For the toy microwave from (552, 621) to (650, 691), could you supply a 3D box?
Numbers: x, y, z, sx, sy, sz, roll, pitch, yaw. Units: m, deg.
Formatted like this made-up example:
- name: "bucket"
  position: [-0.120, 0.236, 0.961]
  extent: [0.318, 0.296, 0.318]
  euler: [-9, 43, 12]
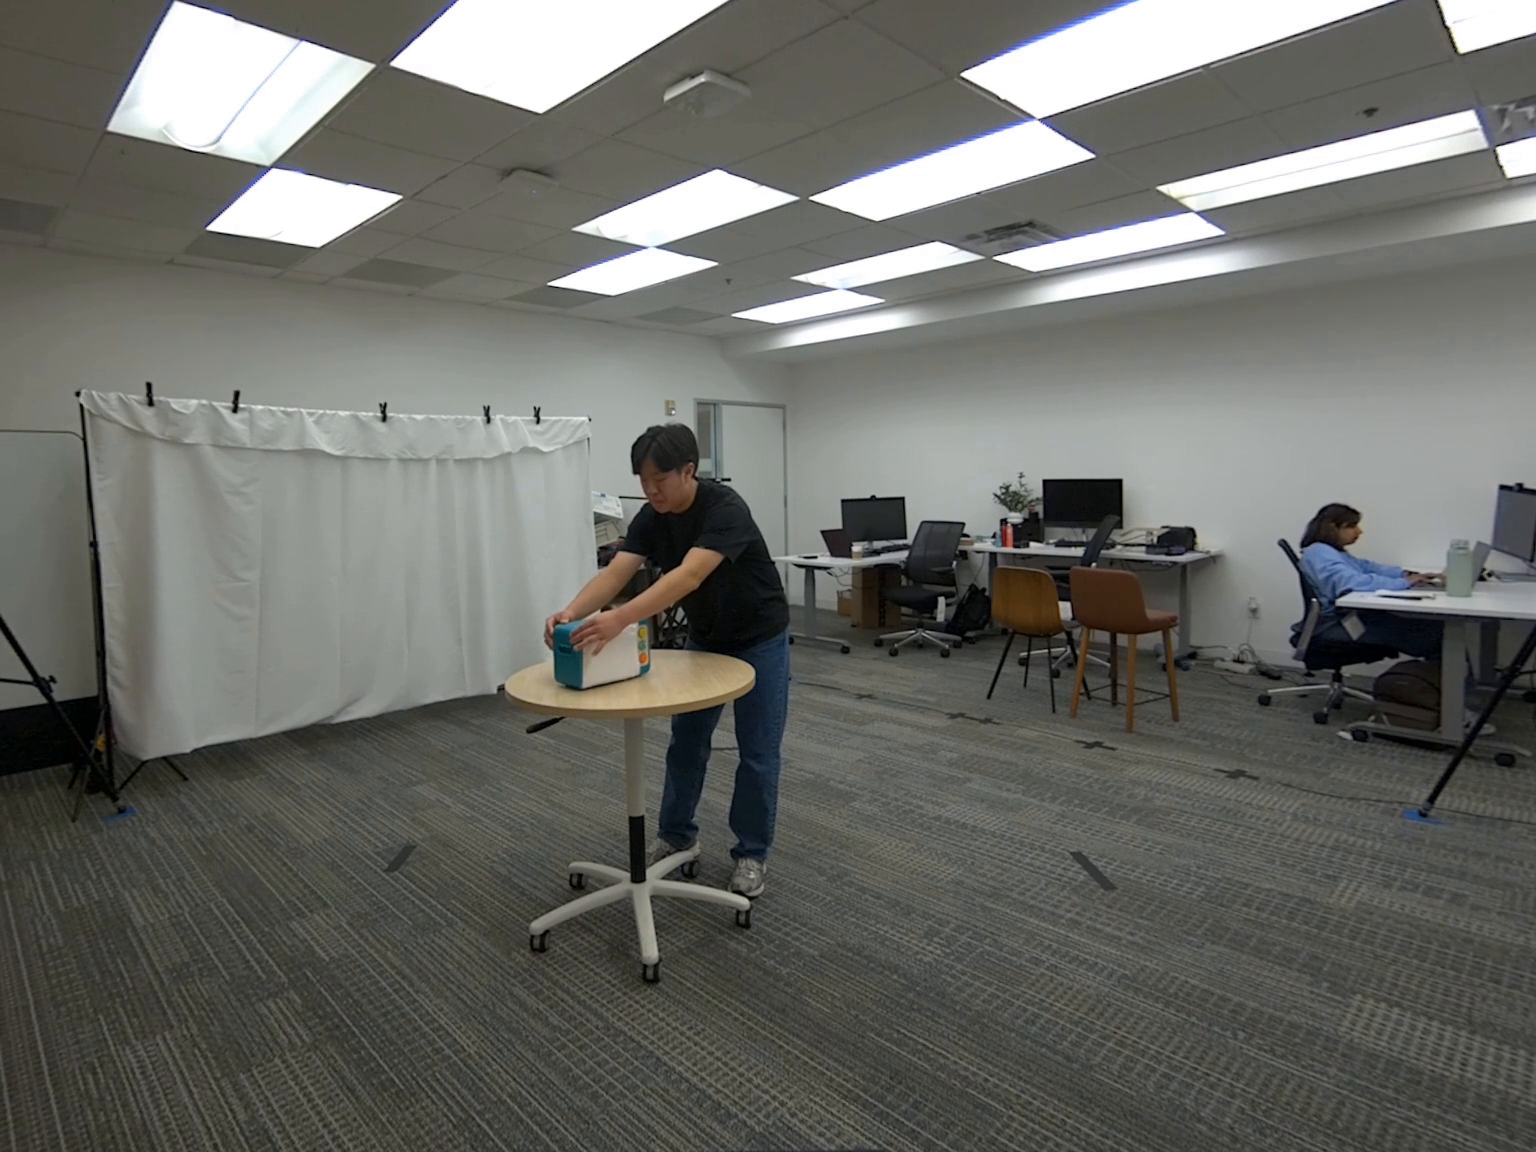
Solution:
- name: "toy microwave"
  position: [-0.492, 0.226, 2.577]
  extent: [0.157, 0.183, 0.279]
  euler: [3, 7, 42]
